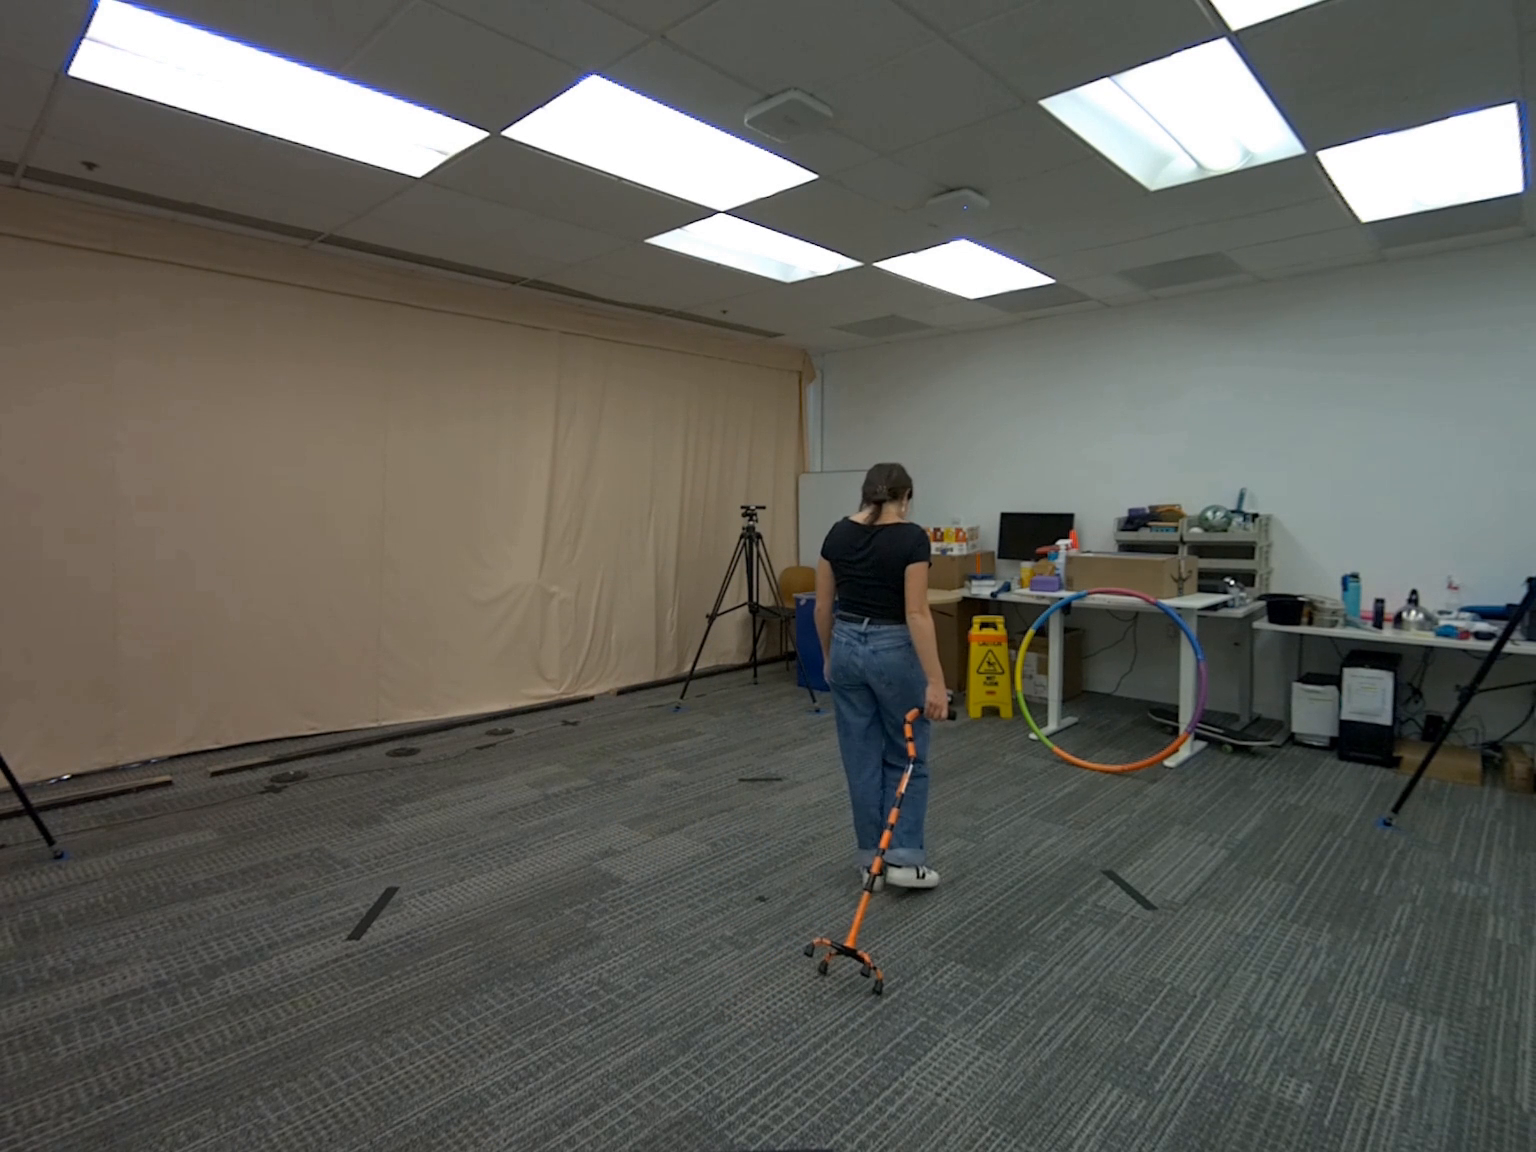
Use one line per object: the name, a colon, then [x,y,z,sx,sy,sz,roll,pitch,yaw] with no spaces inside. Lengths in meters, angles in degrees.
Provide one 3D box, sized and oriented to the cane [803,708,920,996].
cane: [0.395,0.802,2.648,0.213,0.909,0.147,4,-39,32]
